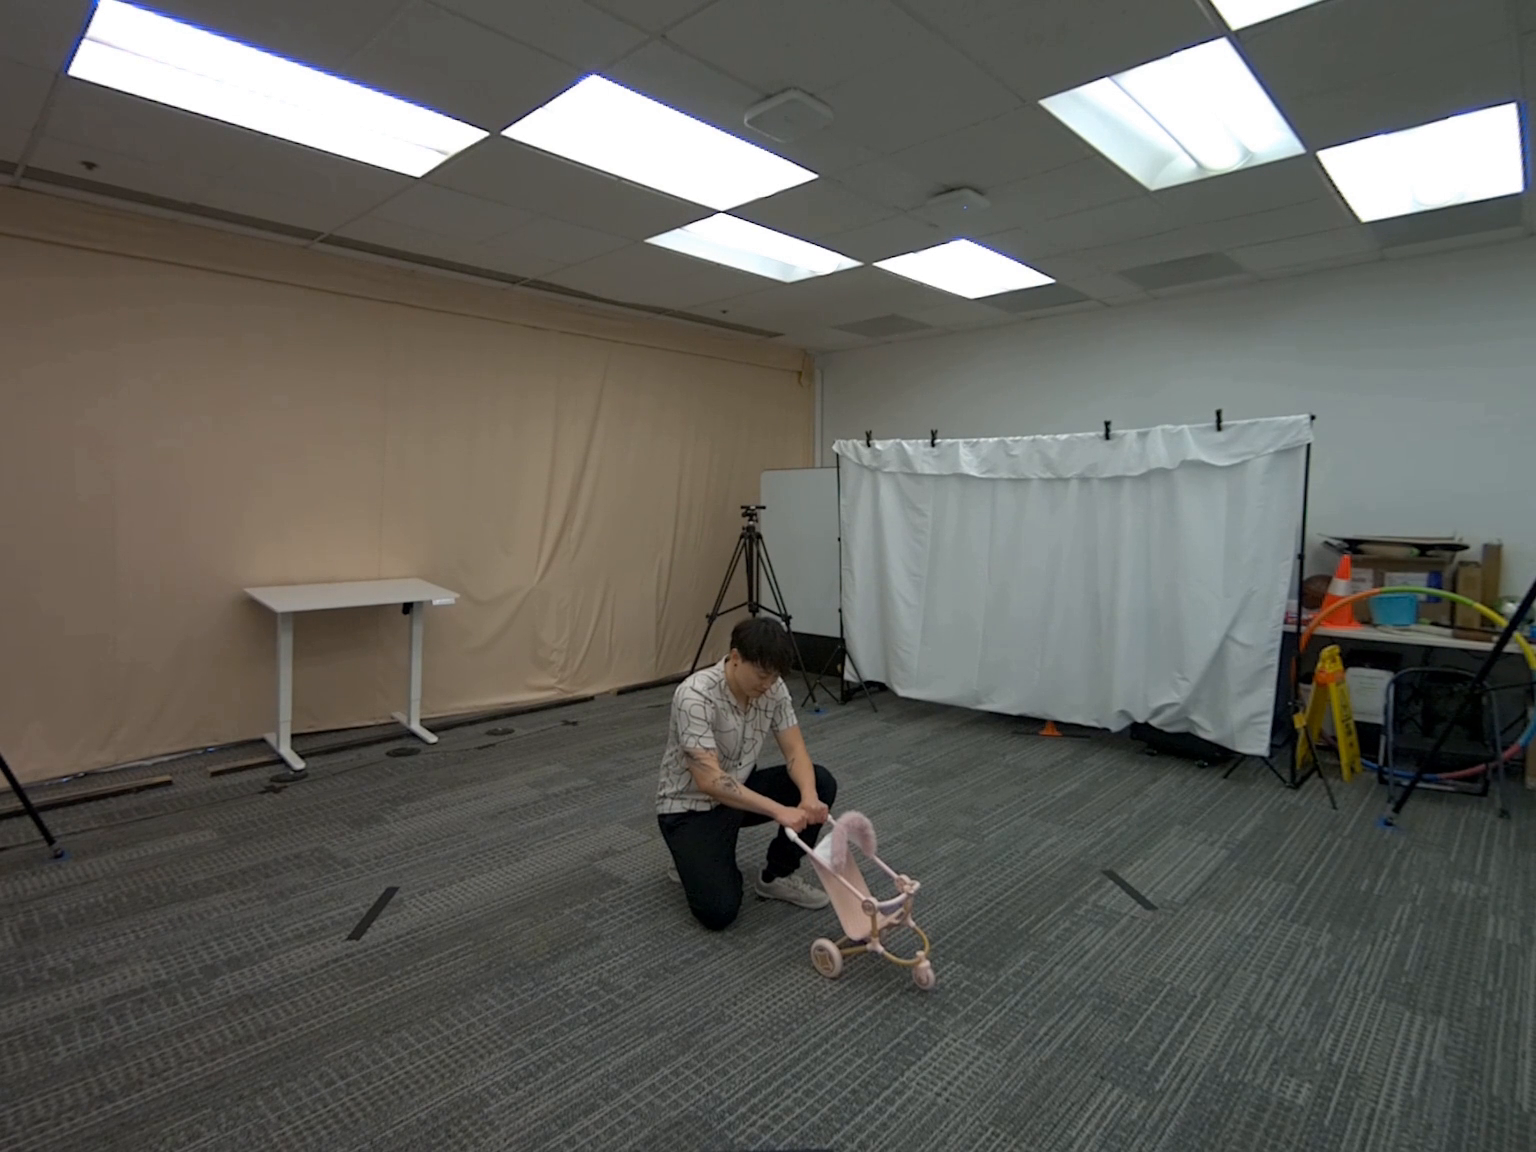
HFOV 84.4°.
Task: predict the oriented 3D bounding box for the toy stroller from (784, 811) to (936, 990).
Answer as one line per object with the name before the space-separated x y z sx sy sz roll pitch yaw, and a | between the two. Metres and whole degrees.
toy stroller | 0.293 0.956 2.537 0.273 0.540 0.348 -6 -14 -46
